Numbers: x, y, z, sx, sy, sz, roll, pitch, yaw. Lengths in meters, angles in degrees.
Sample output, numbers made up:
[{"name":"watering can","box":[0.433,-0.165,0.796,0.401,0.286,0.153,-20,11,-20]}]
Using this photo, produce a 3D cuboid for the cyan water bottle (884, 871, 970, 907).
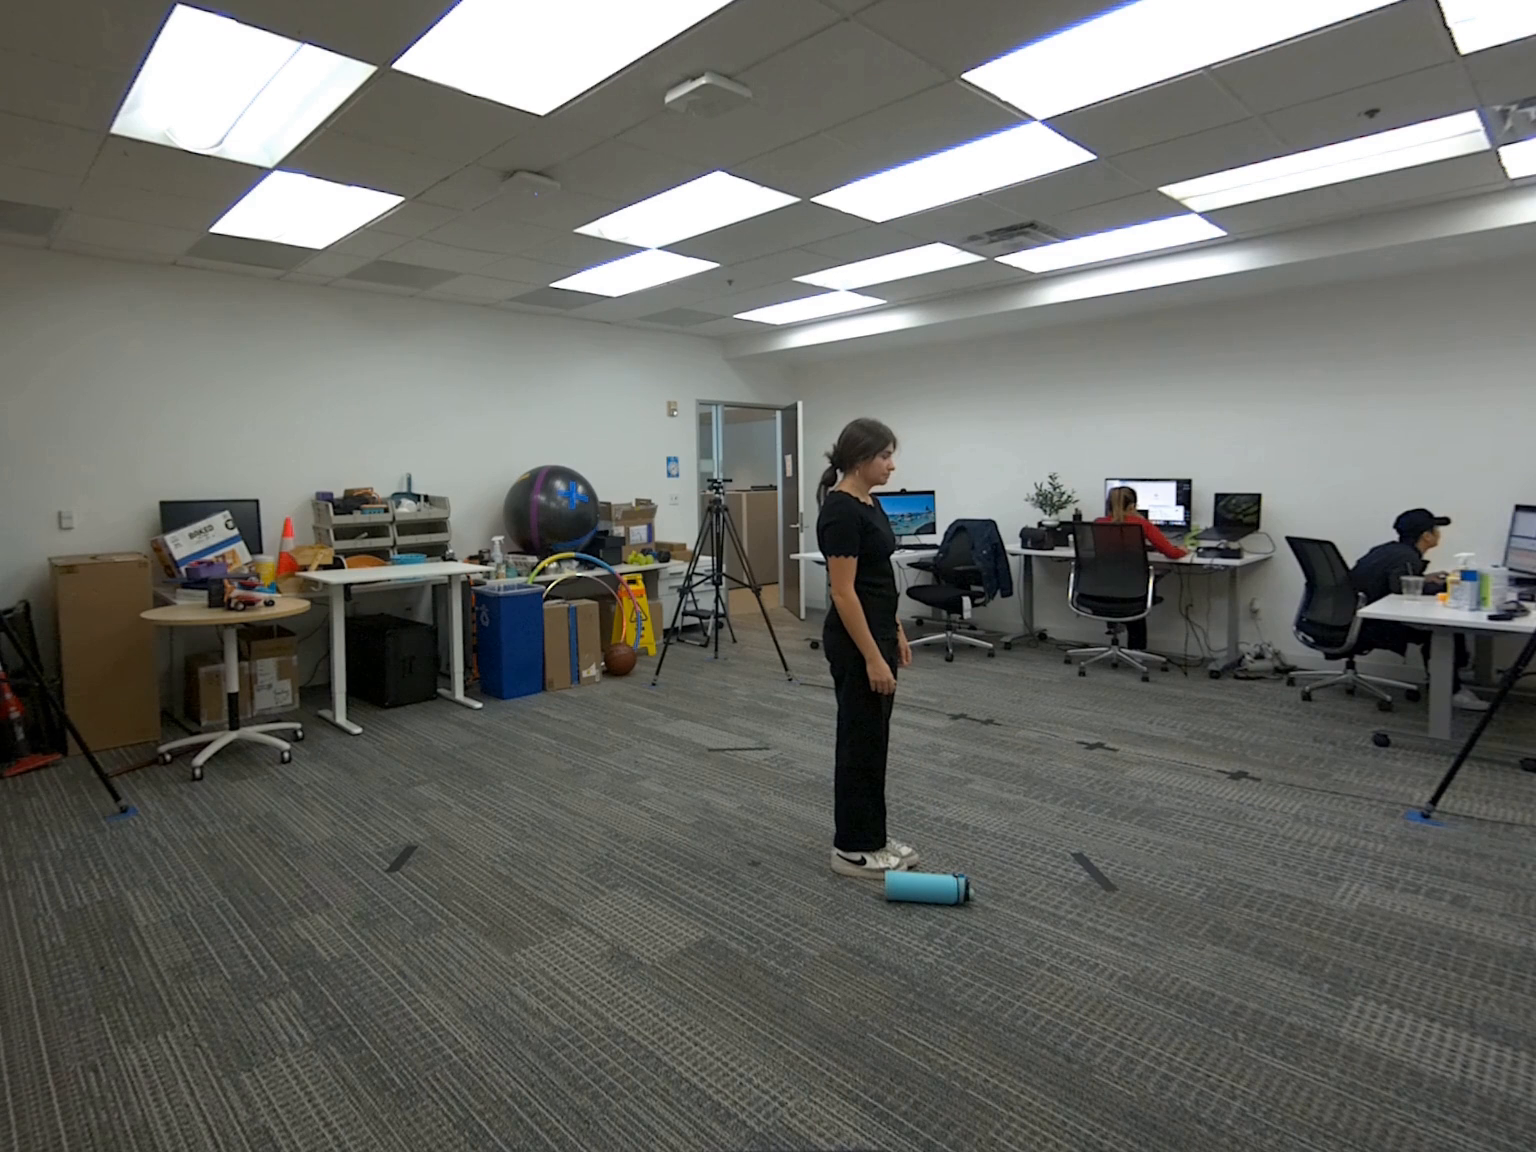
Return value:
[{"name":"cyan water bottle","box":[0.535,1.025,2.801,0.286,0.092,0.092,-1,5,10]}]
